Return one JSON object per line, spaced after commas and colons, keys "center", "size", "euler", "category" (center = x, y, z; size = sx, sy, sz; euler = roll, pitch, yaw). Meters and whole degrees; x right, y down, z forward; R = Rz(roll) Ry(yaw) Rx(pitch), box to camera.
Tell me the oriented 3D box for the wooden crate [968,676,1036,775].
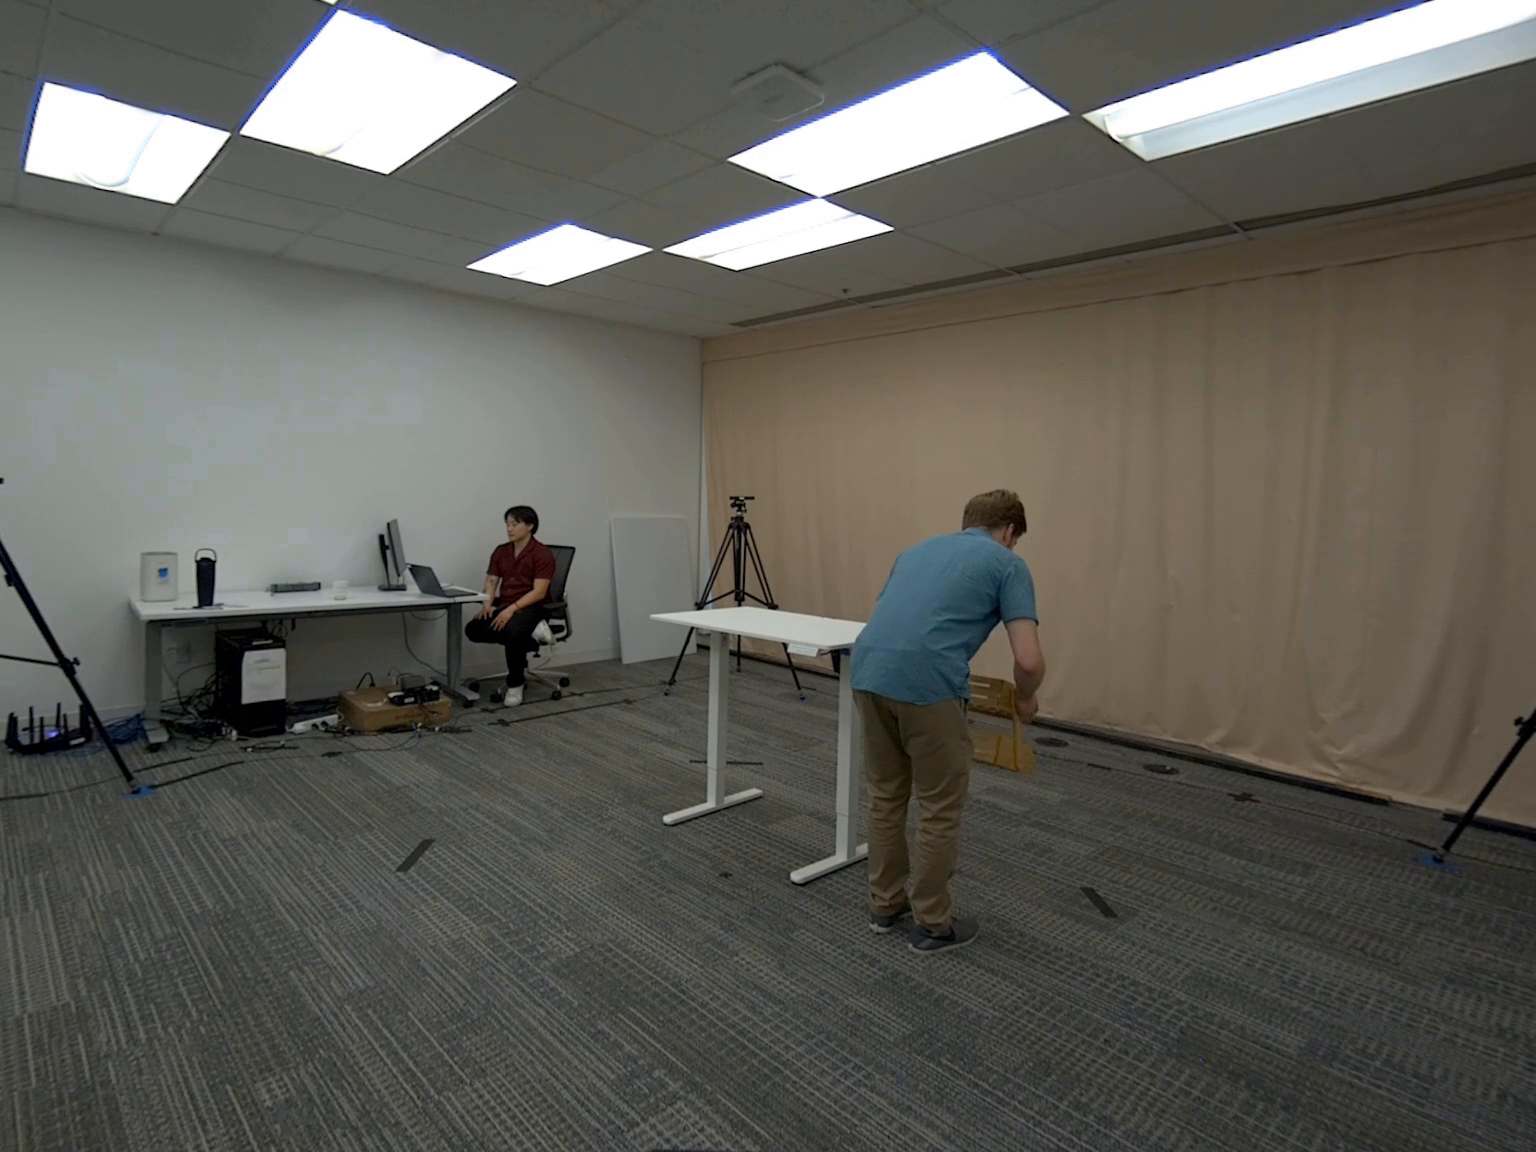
{"center": [0.708, 0.483, 2.844], "size": [0.293, 0.275, 0.332], "euler": [24, -14, -41], "category": "wooden crate"}
